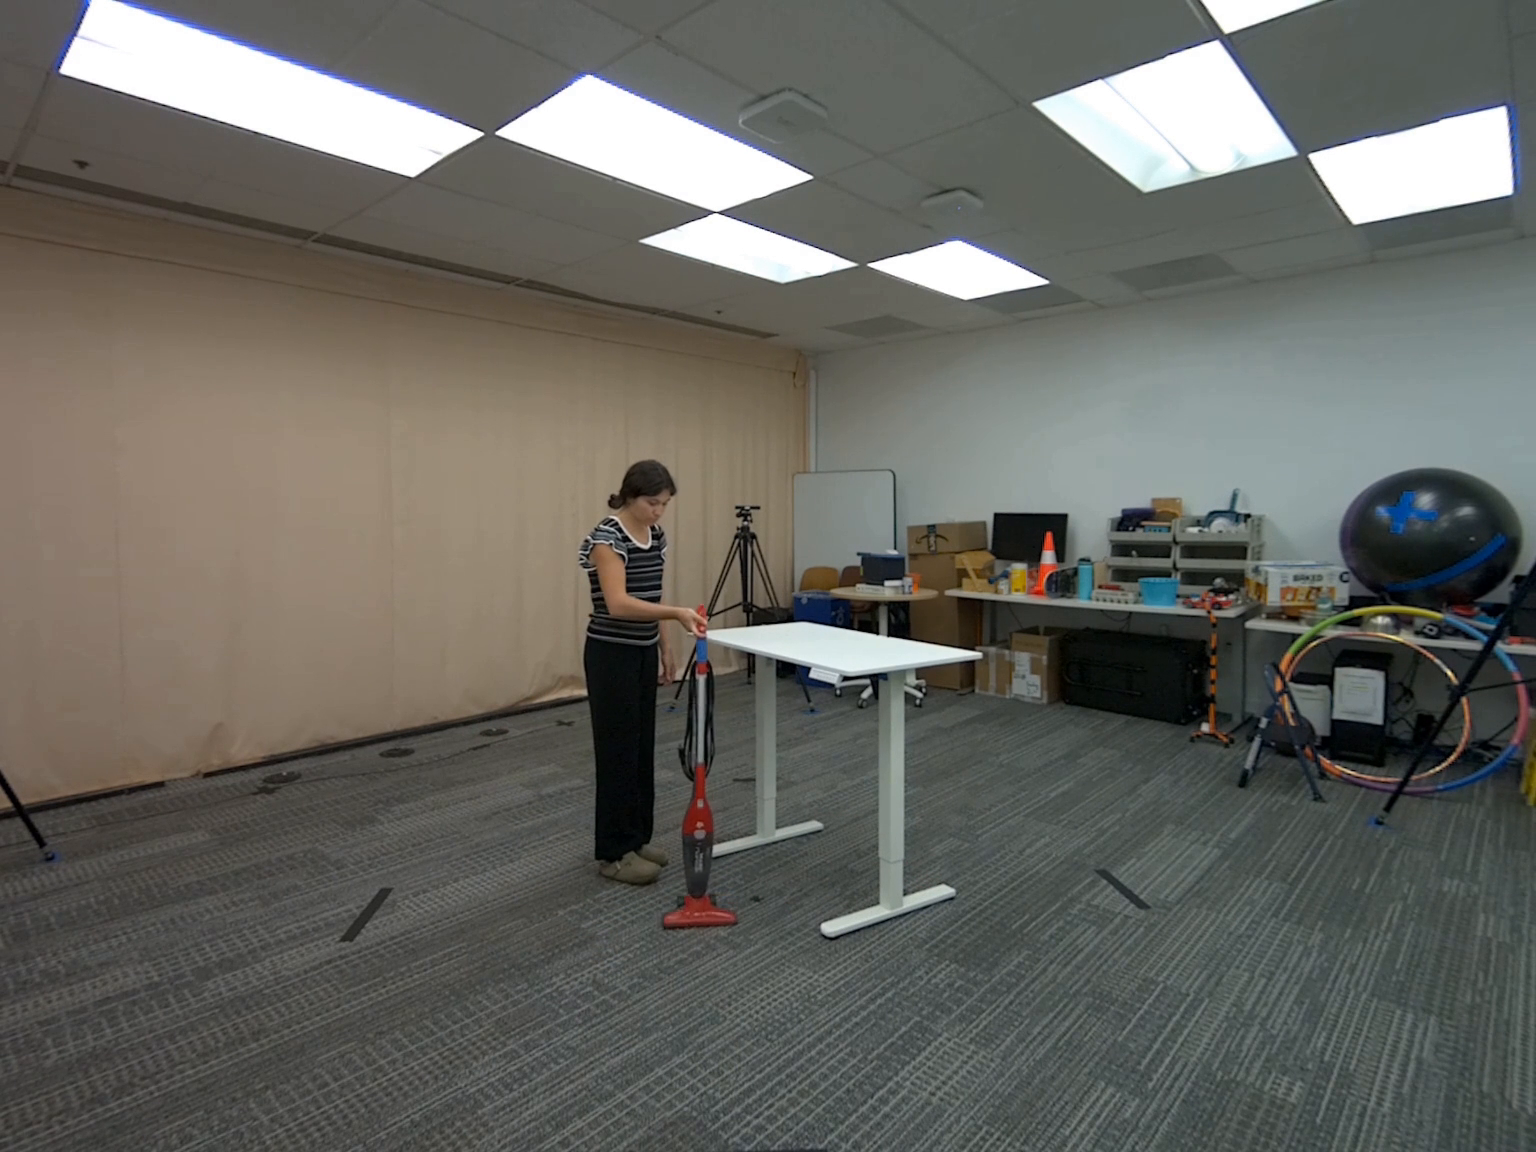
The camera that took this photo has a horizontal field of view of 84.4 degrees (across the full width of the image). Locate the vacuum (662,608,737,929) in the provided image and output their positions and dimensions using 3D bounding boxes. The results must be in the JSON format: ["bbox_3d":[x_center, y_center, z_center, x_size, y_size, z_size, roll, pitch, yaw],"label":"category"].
[{"bbox_3d":[-0.235,0.639,2.923,0.249,1.054,0.145,2,-8,-13],"label":"vacuum"}]
